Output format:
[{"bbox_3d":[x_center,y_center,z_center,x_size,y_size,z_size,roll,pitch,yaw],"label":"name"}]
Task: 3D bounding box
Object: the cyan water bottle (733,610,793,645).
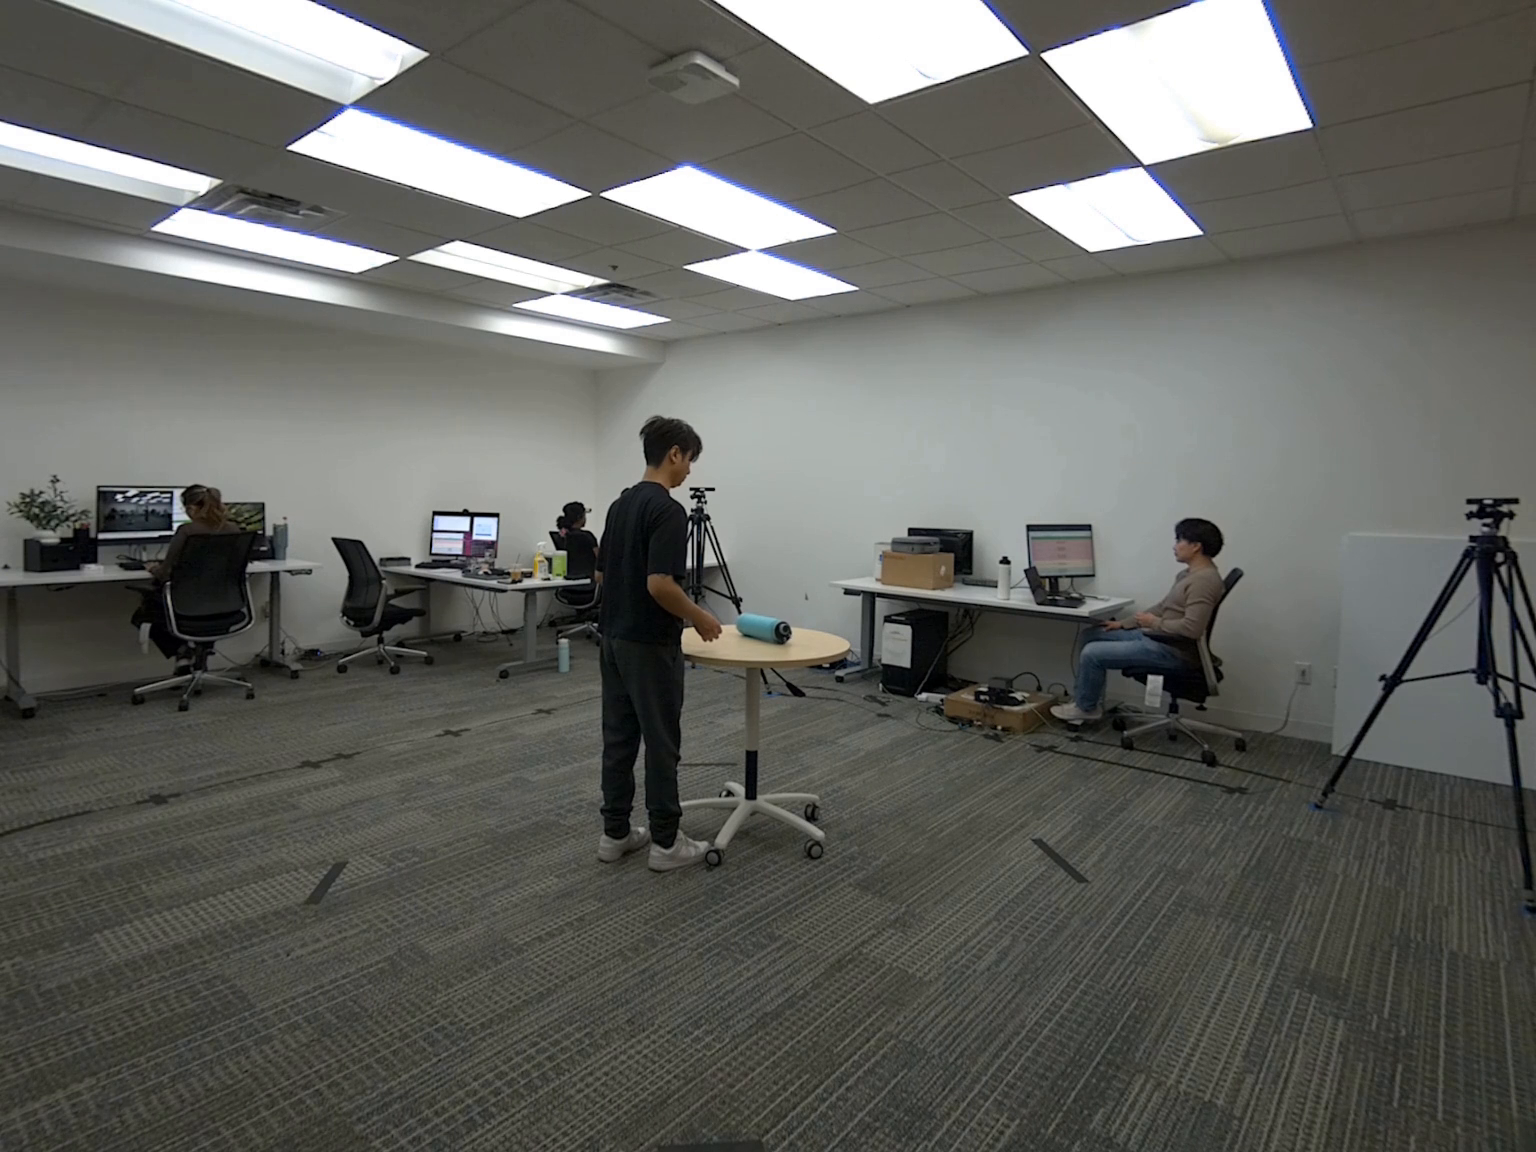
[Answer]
[{"bbox_3d":[-0.027,0.206,3.430,0.090,0.092,0.293,-2,6,-34],"label":"cyan water bottle"}]
